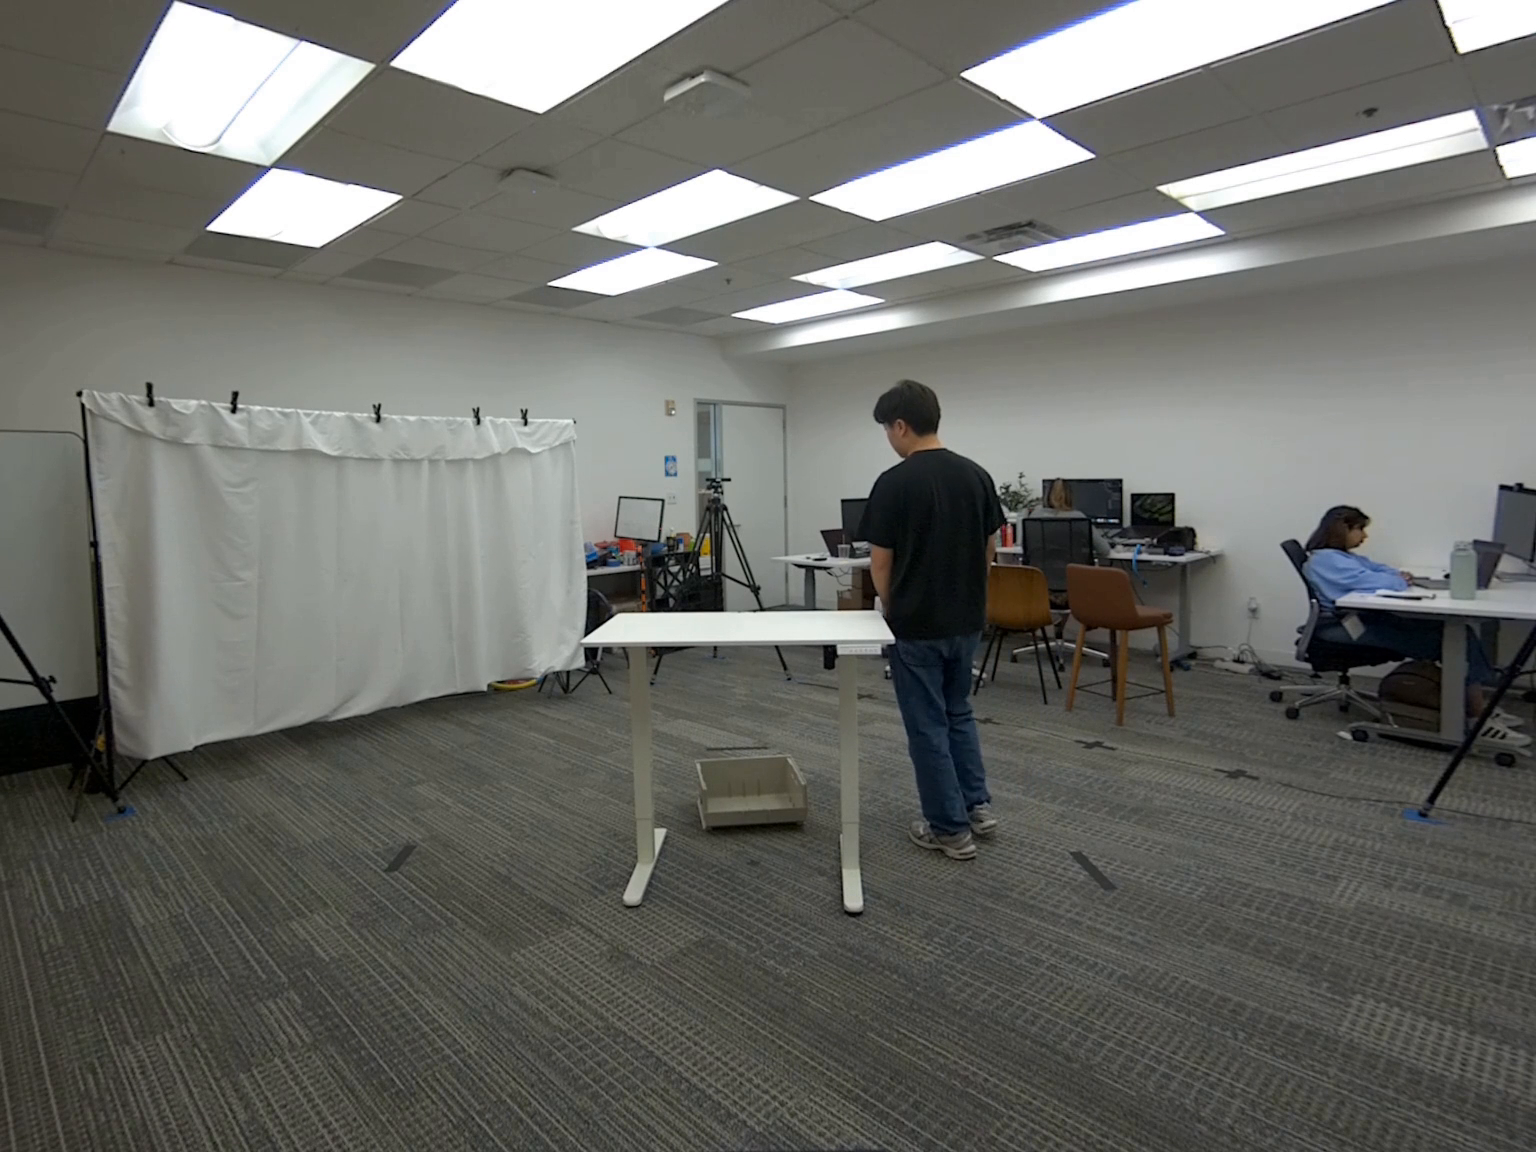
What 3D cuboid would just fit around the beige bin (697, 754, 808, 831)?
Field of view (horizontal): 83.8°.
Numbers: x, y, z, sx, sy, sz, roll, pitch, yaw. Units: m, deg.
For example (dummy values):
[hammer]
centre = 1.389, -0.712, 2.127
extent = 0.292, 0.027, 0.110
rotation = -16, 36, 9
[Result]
[beige bin]
centre = -0.075, 0.905, 3.555
extent = 0.419, 0.188, 0.381
rotation = -2, 5, -8
